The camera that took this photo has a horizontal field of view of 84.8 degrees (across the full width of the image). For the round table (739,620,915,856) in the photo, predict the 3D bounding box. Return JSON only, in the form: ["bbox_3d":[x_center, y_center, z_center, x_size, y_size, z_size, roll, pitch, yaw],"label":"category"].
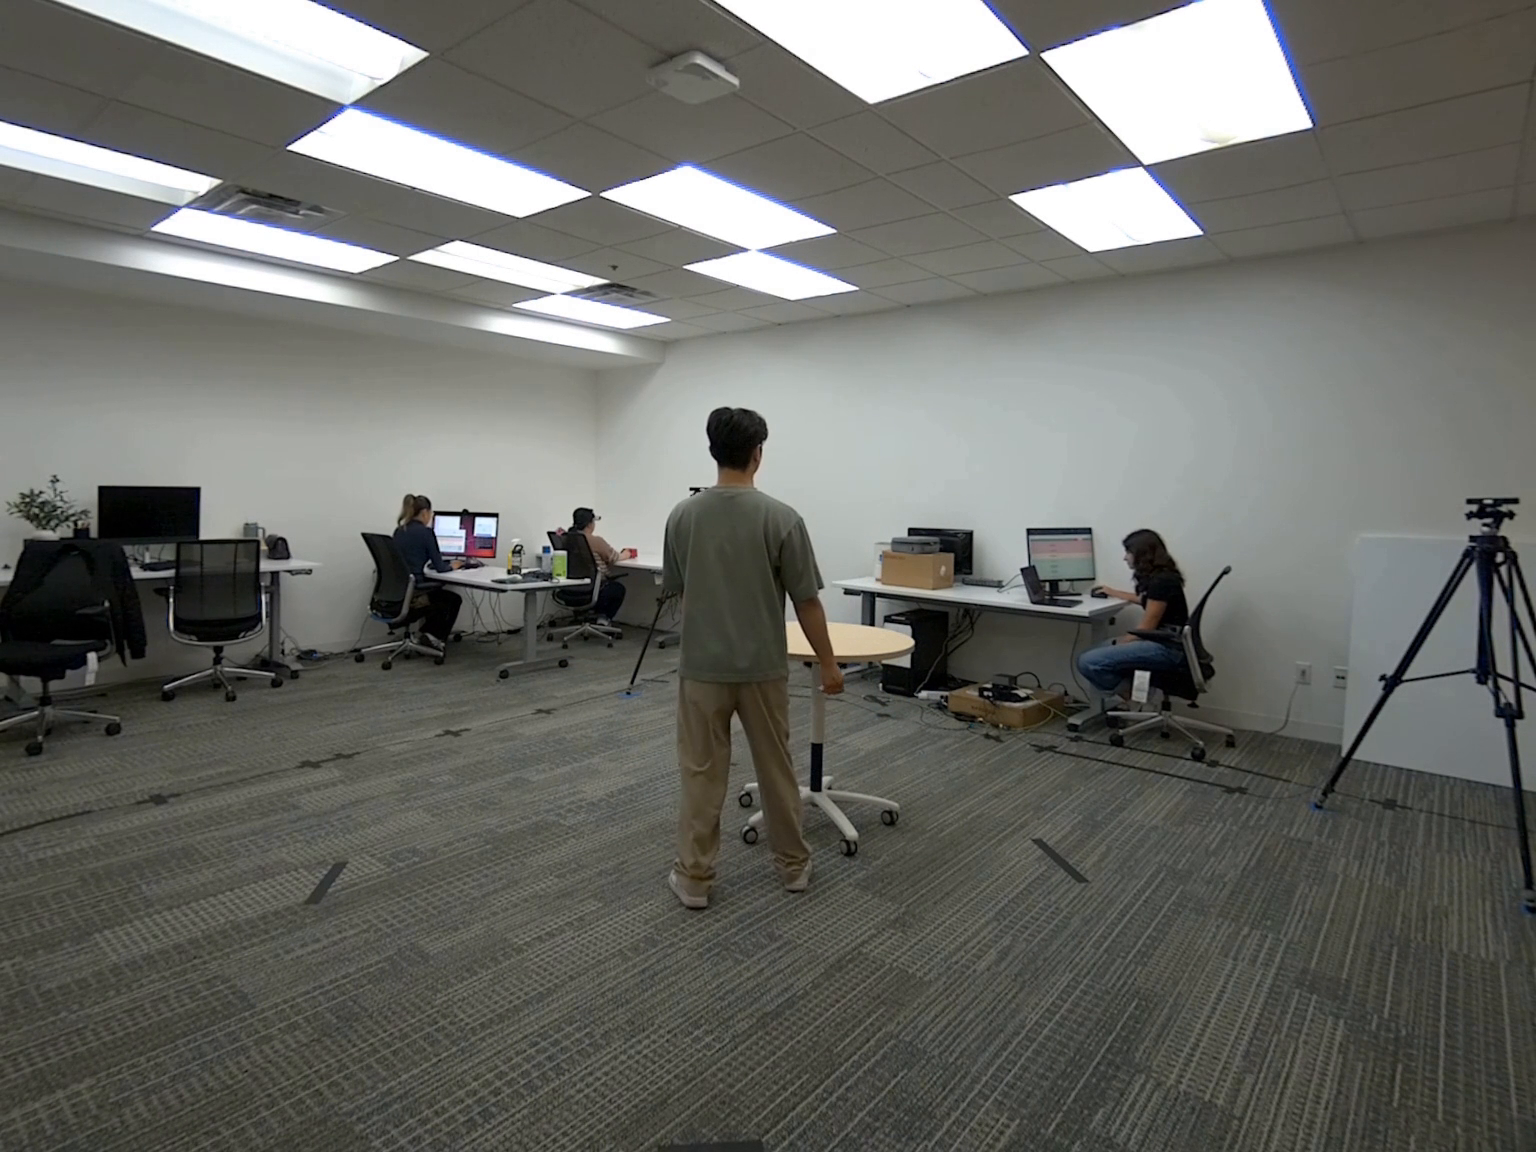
[{"bbox_3d":[0.200,0.636,3.548,0.784,0.783,0.789,1,5,-2],"label":"round table"}]
